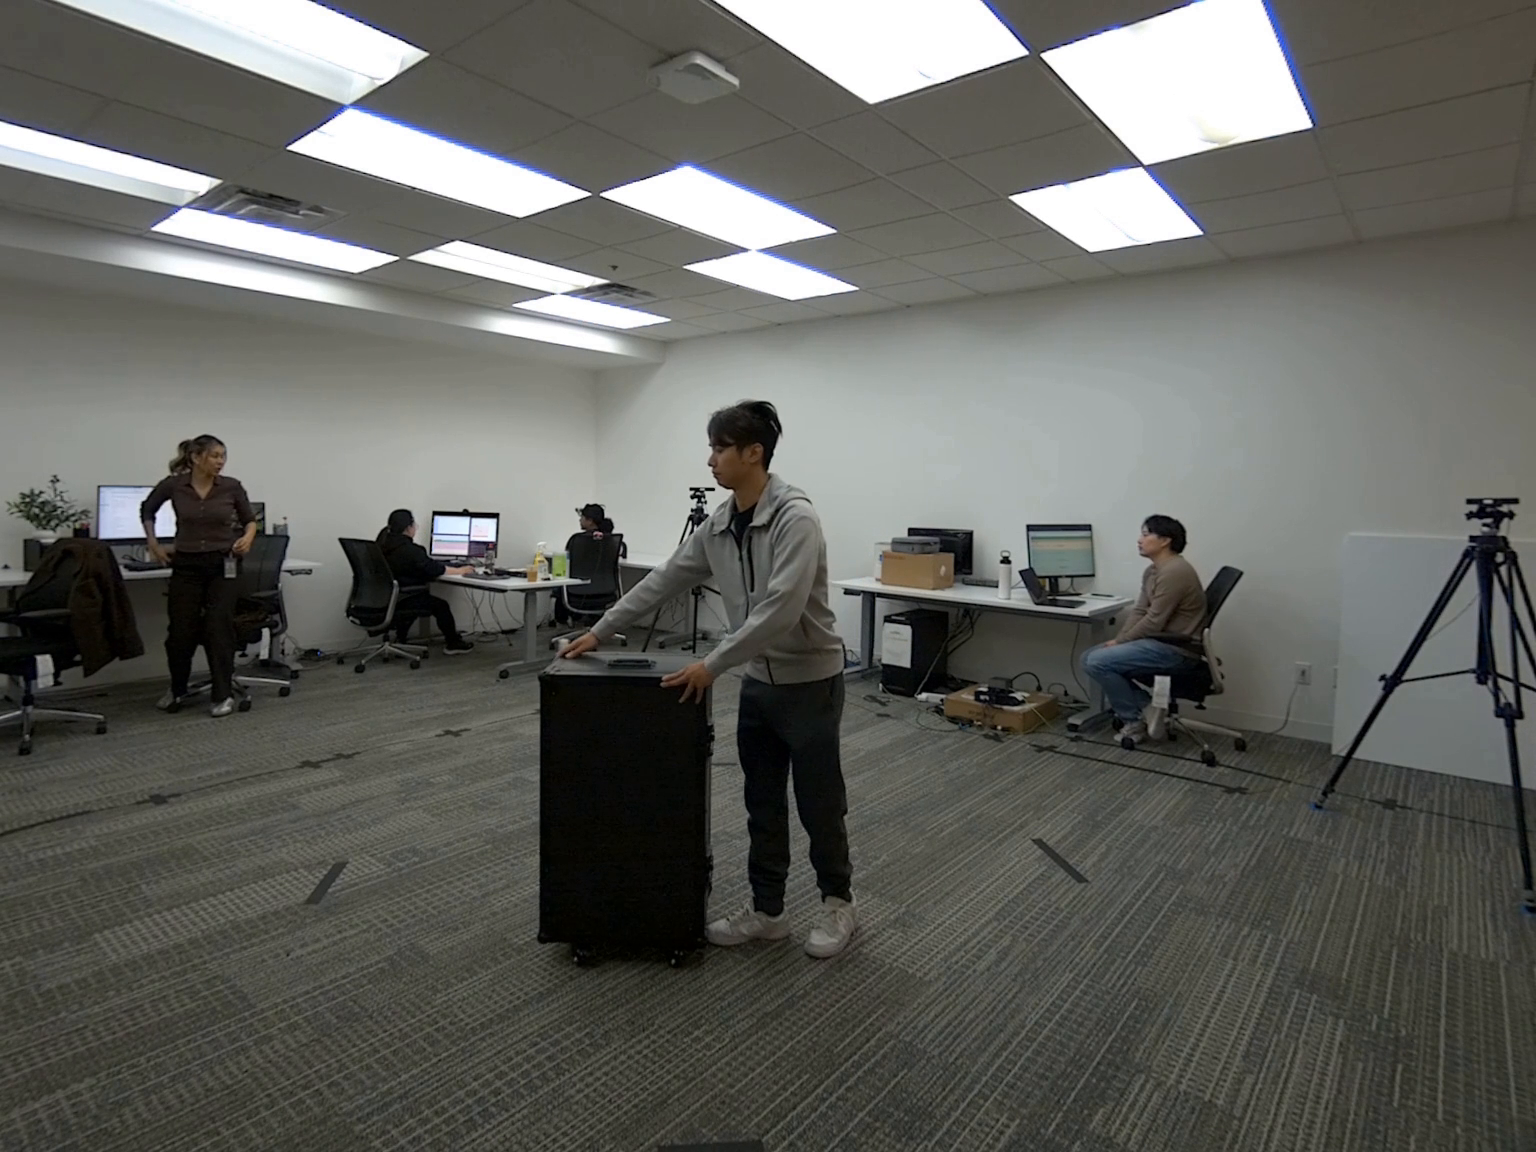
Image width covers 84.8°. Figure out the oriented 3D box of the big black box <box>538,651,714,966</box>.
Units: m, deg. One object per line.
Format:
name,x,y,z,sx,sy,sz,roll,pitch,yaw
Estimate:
big black box,-0.439,0.690,2.609,0.523,0.860,0.395,1,2,2
